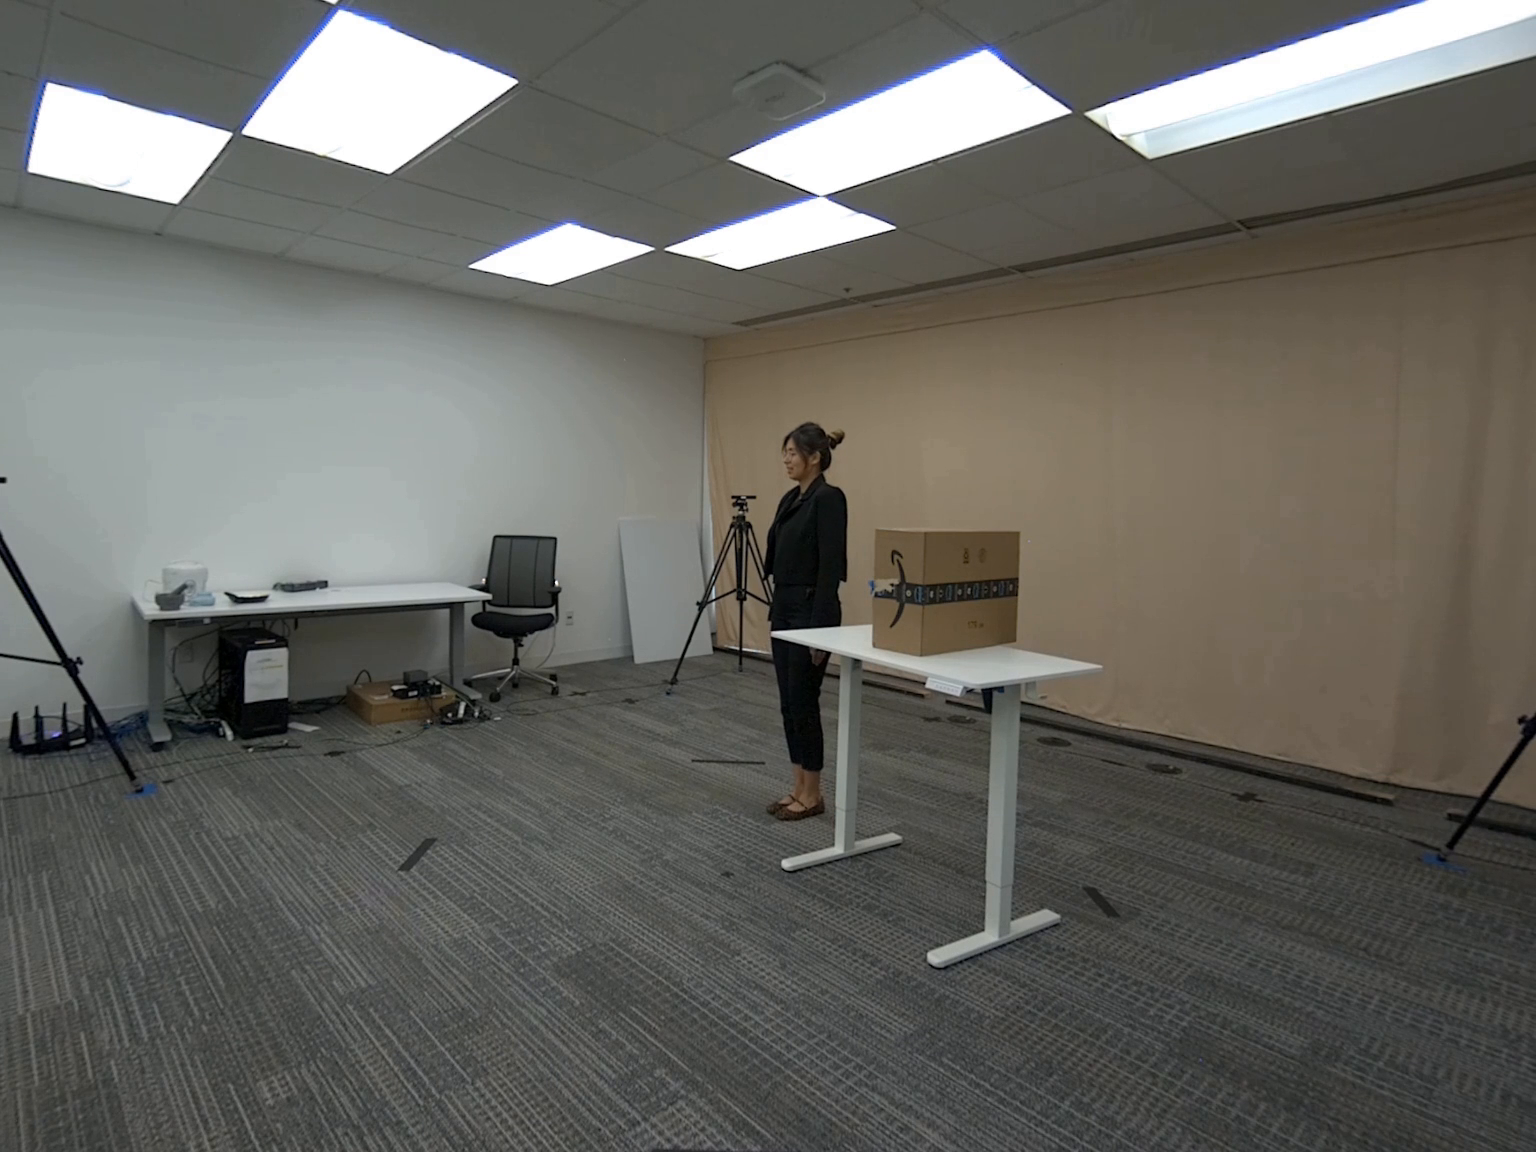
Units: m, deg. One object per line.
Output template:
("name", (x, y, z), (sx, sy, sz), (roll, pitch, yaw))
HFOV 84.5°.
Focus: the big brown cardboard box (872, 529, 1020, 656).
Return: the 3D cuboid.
("big brown cardboard box", (0.634, 0.038, 3.018), (0.575, 0.417, 0.239), (-1, 4, -40))
